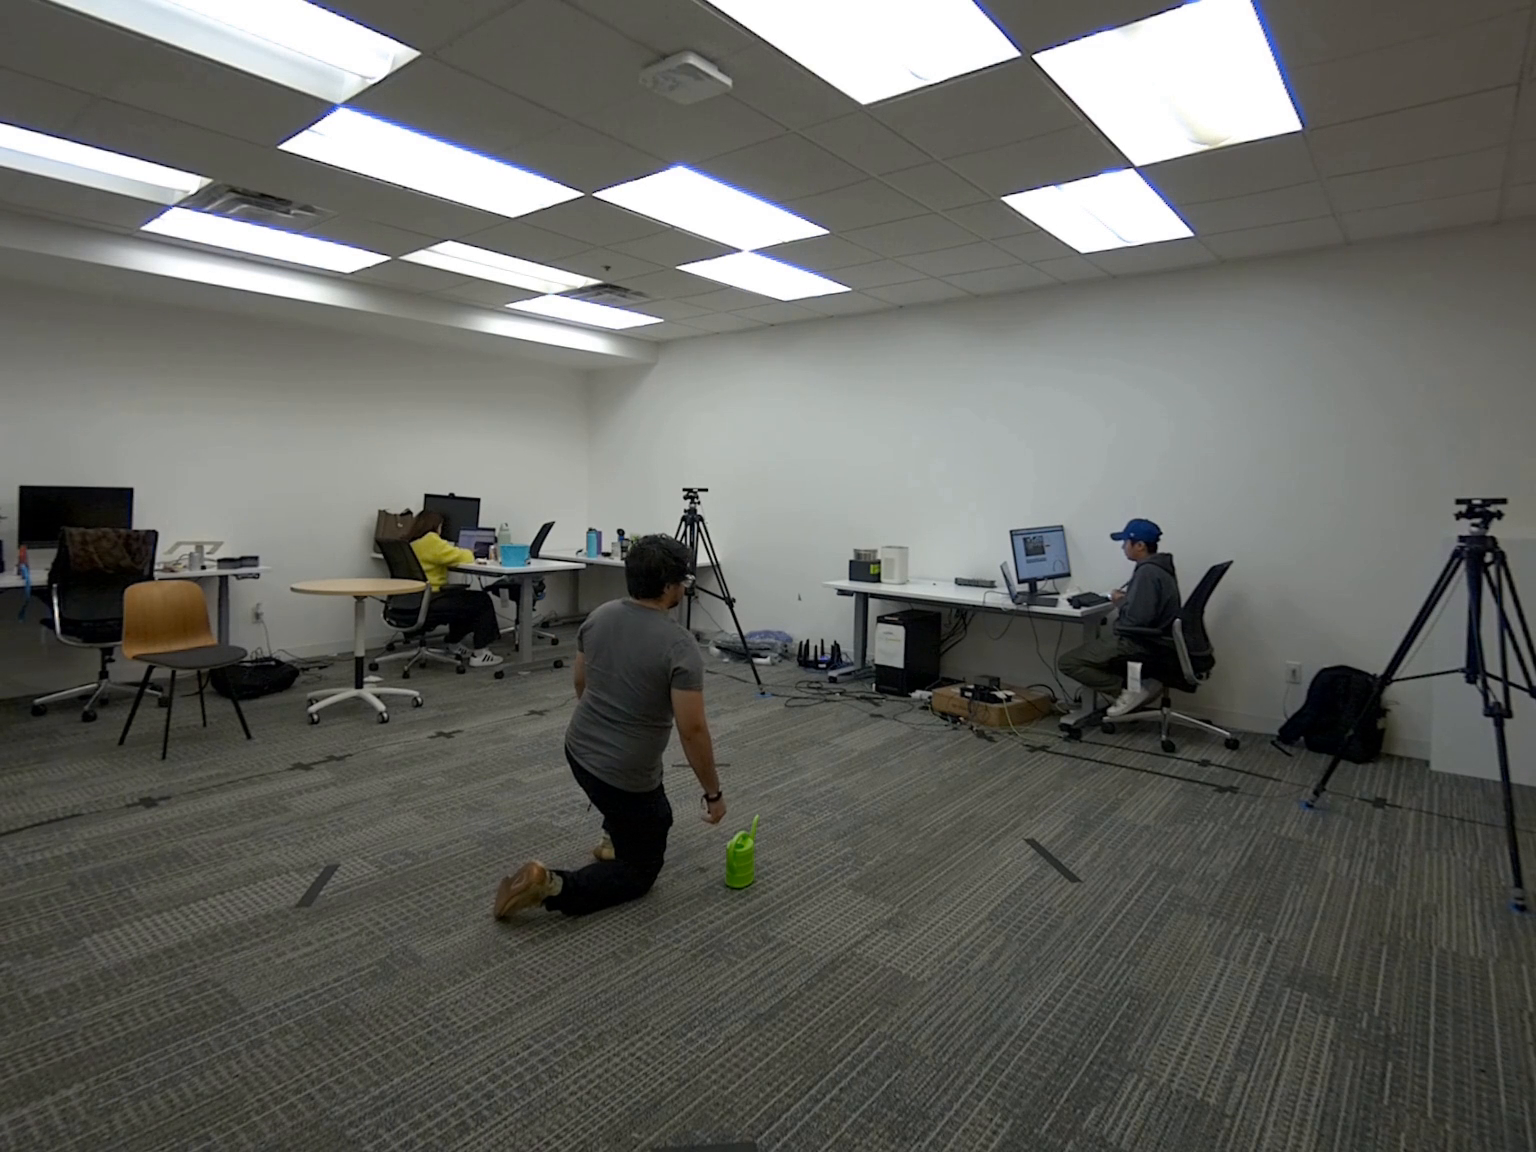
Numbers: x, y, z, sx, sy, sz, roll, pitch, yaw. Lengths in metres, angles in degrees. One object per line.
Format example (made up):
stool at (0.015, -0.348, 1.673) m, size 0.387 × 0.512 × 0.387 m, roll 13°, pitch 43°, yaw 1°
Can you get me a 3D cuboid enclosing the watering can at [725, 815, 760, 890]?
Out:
watering can at (-0.084, 0.992, 3.047) m, size 0.101 × 0.176 × 0.270 m, roll 4°, pitch 5°, yaw 35°
